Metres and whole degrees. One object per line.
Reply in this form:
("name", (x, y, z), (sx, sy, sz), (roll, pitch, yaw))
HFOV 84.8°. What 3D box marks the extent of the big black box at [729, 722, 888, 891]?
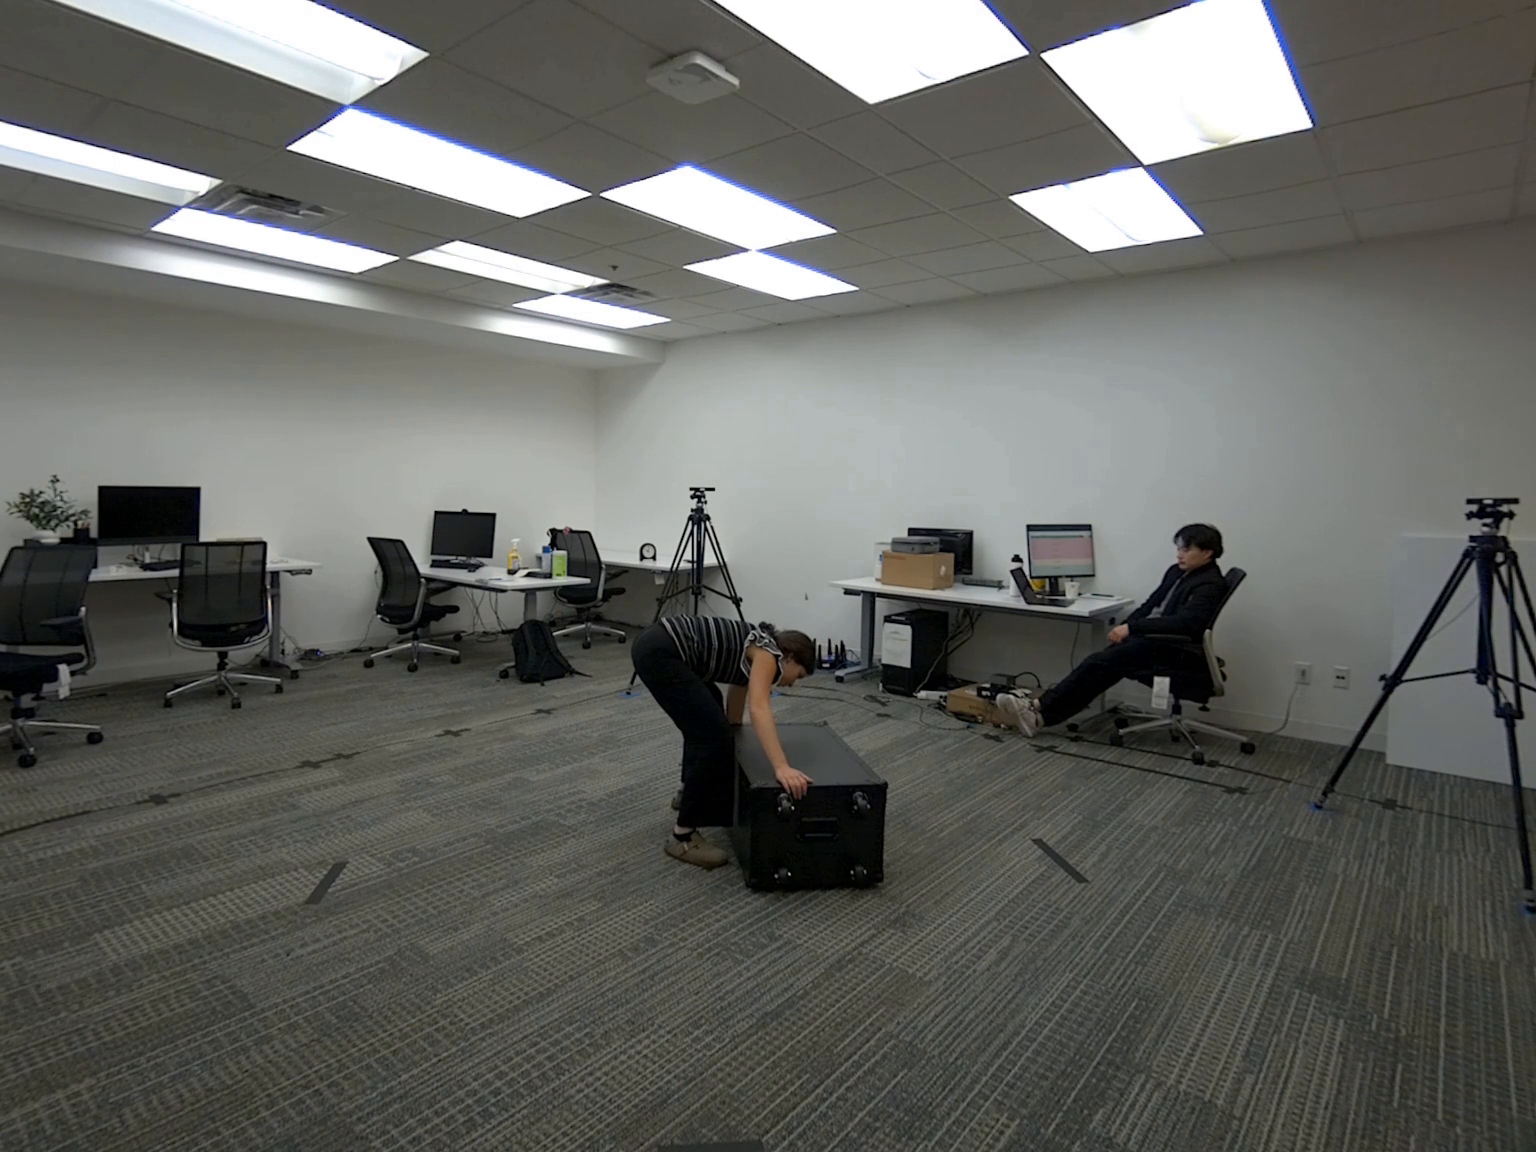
("big black box", (0.095, 0.865, 3.283), (0.515, 0.395, 0.875), (-1, 5, -12))
